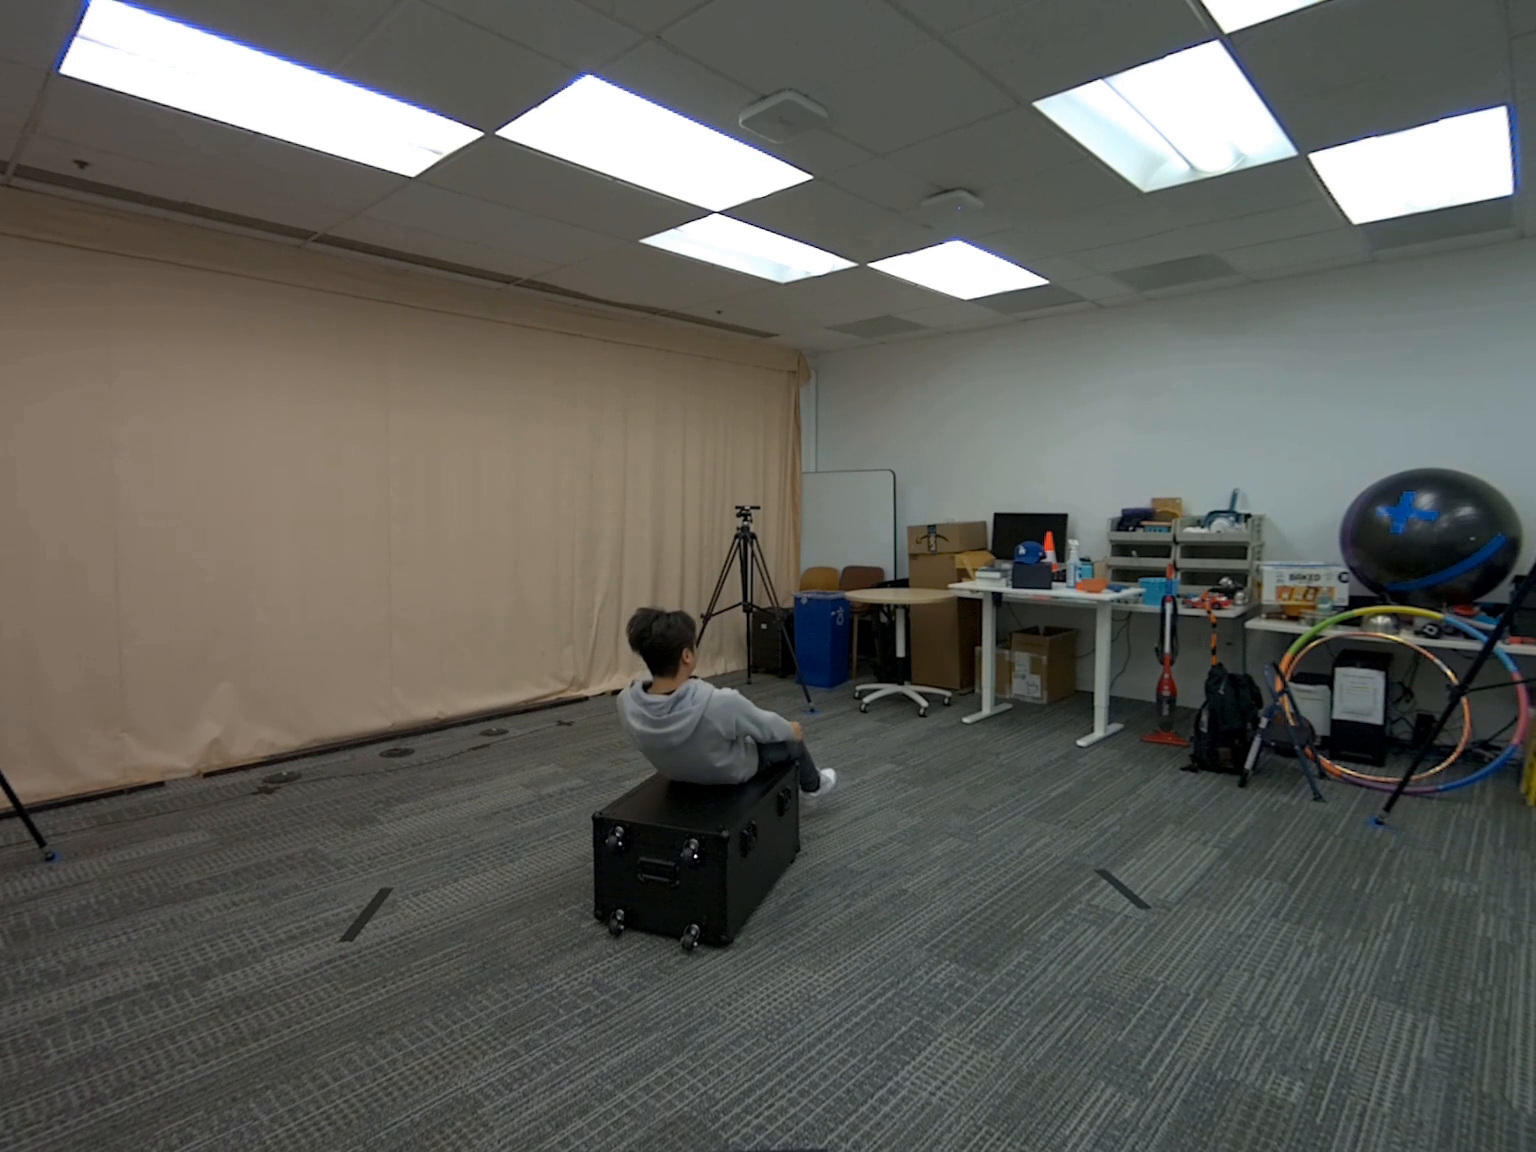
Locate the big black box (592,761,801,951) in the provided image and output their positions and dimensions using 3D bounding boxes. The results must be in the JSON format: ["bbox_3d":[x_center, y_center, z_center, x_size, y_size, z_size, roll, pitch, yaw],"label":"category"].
[{"bbox_3d":[-0.211,0.947,3.085,0.533,0.395,0.844,1,5,21],"label":"big black box"}]
